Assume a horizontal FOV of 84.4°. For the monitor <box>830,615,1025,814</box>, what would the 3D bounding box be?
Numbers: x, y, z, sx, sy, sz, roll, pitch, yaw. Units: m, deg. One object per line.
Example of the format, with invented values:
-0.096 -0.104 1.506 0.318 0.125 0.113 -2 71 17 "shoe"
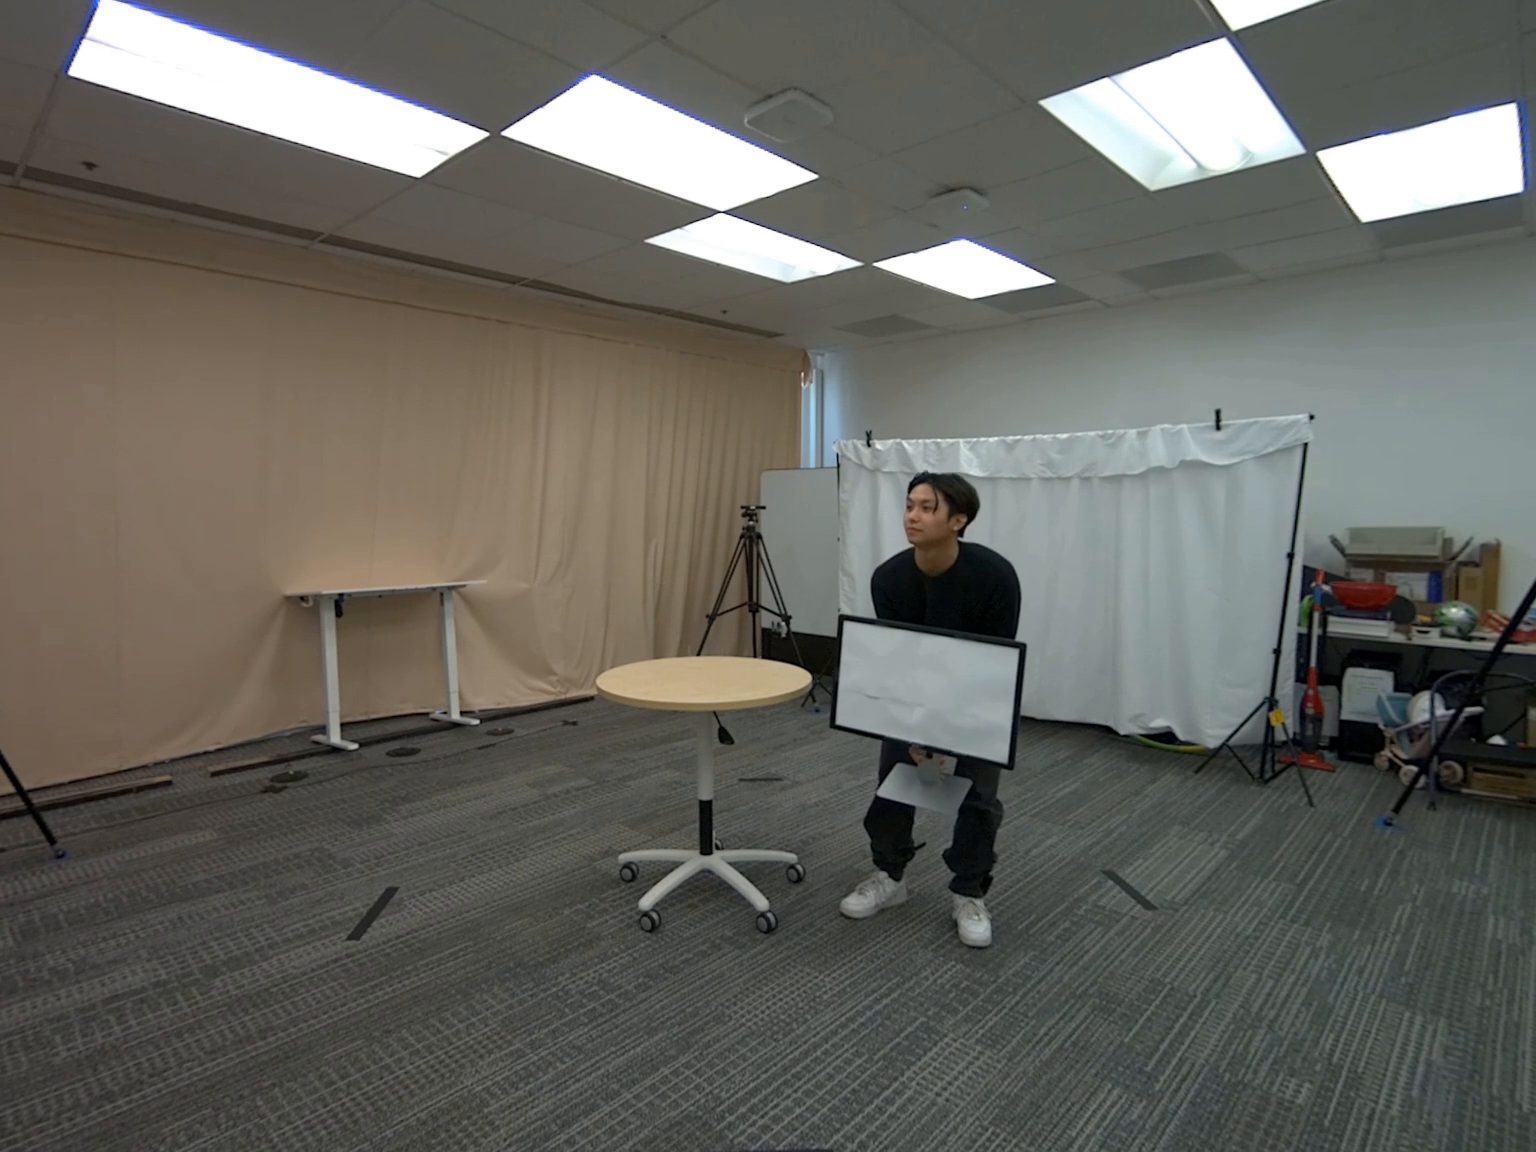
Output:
0.474 0.411 2.540 0.555 0.517 0.183 8 17 29 "monitor"
